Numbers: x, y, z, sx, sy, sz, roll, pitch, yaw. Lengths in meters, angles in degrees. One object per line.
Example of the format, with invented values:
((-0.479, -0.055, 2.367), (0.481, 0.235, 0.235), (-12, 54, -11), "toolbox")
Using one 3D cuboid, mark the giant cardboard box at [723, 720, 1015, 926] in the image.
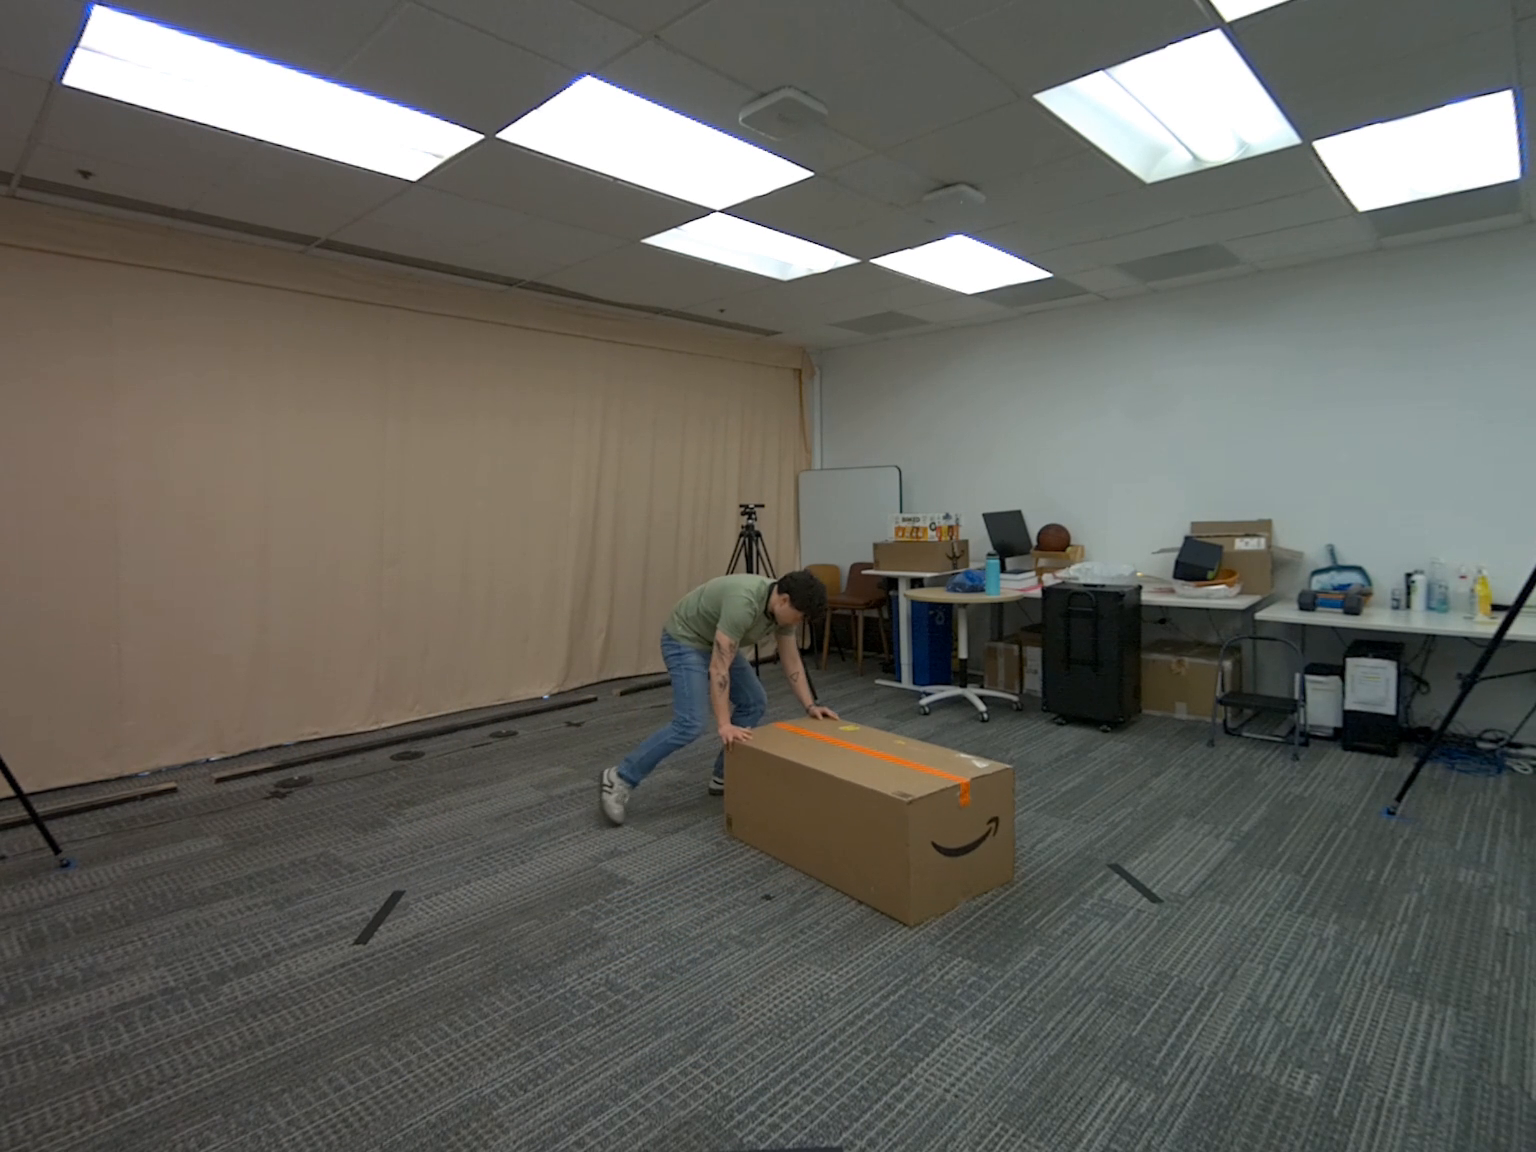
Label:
((0.361, 0.891, 3.309), (0.560, 0.425, 1.059), (-3, 5, -38), "giant cardboard box")
